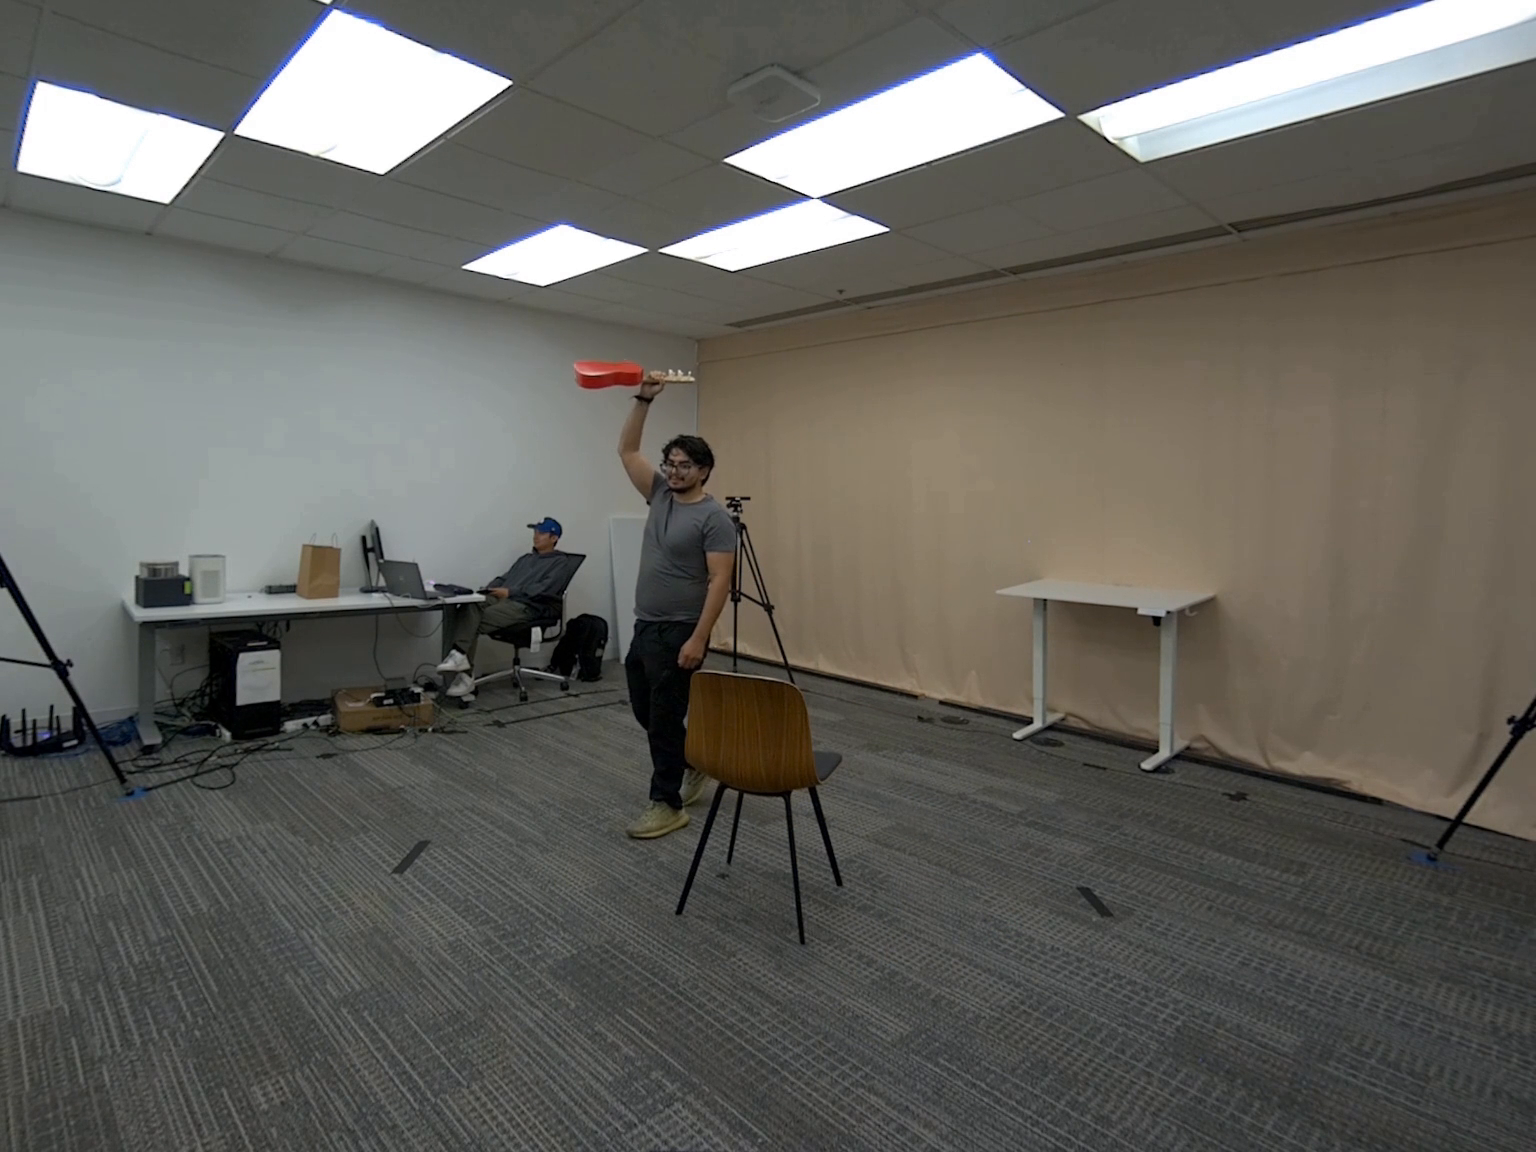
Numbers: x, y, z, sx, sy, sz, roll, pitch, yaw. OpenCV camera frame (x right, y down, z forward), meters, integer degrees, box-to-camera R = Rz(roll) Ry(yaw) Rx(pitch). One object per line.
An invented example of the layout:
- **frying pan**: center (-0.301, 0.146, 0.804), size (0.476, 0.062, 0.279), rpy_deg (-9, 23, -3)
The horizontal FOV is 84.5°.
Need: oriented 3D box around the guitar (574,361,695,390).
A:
- **guitar**: center (-0.572, -0.839, 3.463), size (0.490, 0.069, 0.199), rpy_deg (-11, 32, -27)
